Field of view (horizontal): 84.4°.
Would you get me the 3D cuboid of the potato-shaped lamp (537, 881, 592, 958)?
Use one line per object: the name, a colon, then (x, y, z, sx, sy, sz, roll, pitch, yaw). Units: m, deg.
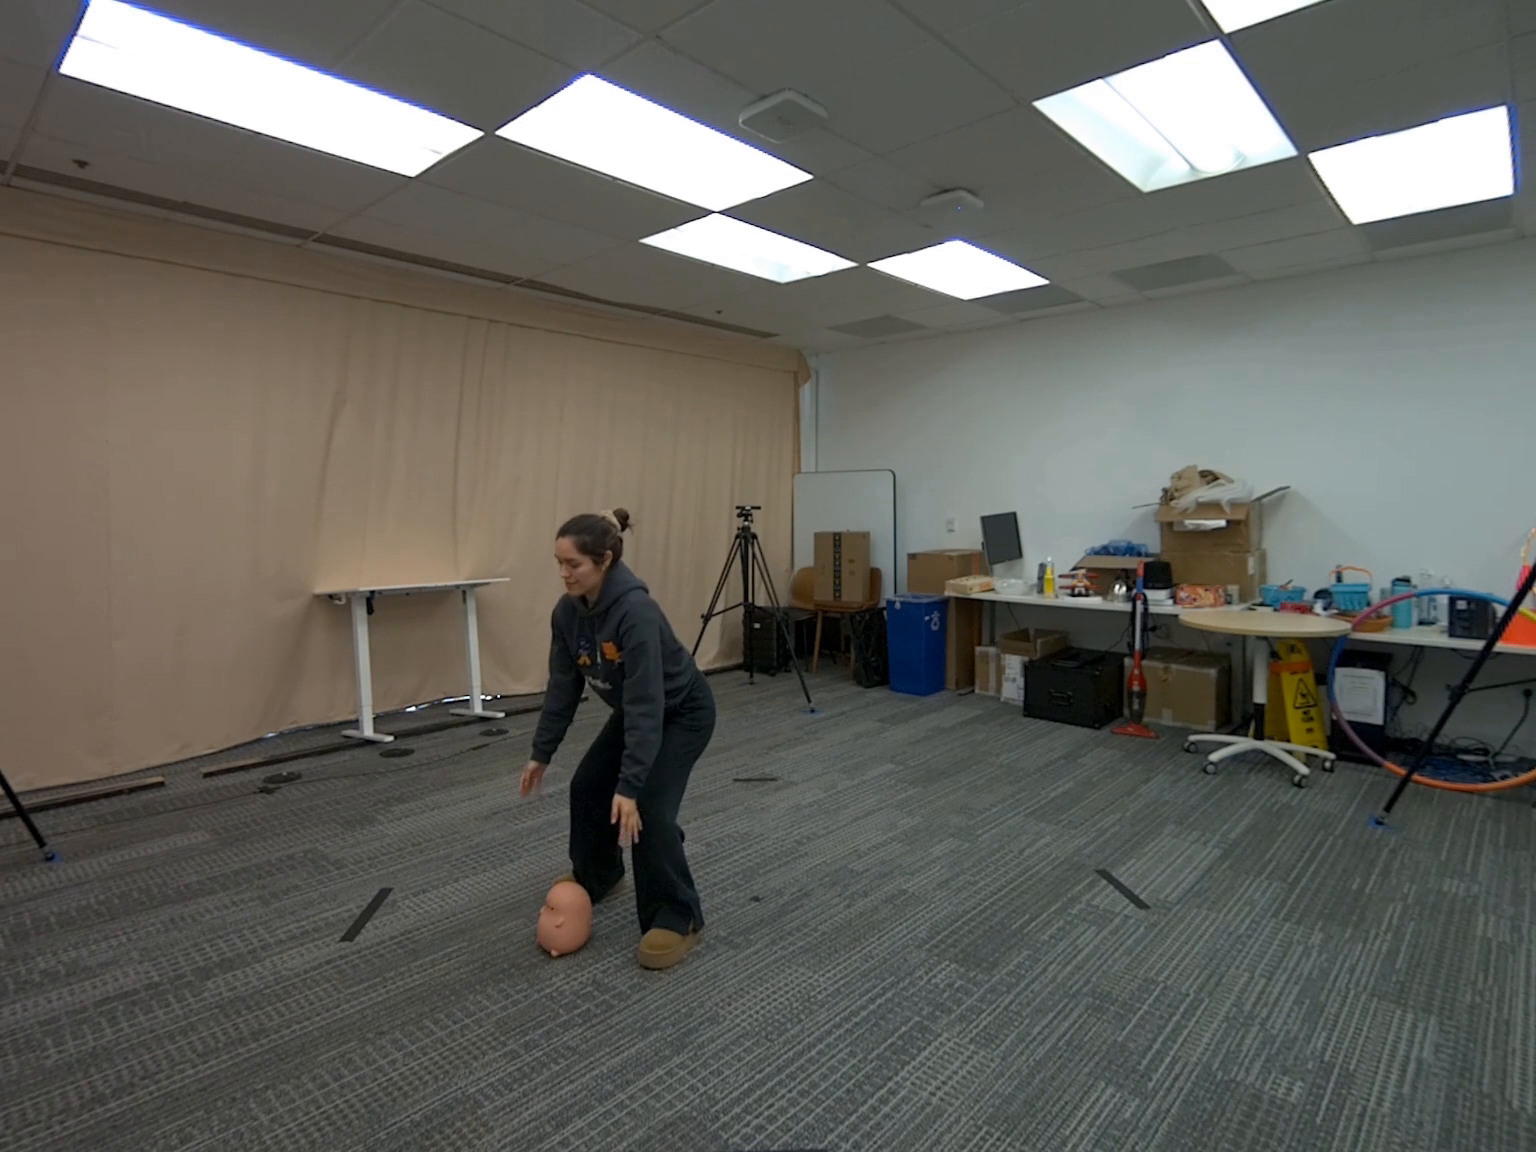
potato-shaped lamp: (-0.632, 1.074, 2.678, 0.166, 0.198, 0.170, -2, 3, -37)
